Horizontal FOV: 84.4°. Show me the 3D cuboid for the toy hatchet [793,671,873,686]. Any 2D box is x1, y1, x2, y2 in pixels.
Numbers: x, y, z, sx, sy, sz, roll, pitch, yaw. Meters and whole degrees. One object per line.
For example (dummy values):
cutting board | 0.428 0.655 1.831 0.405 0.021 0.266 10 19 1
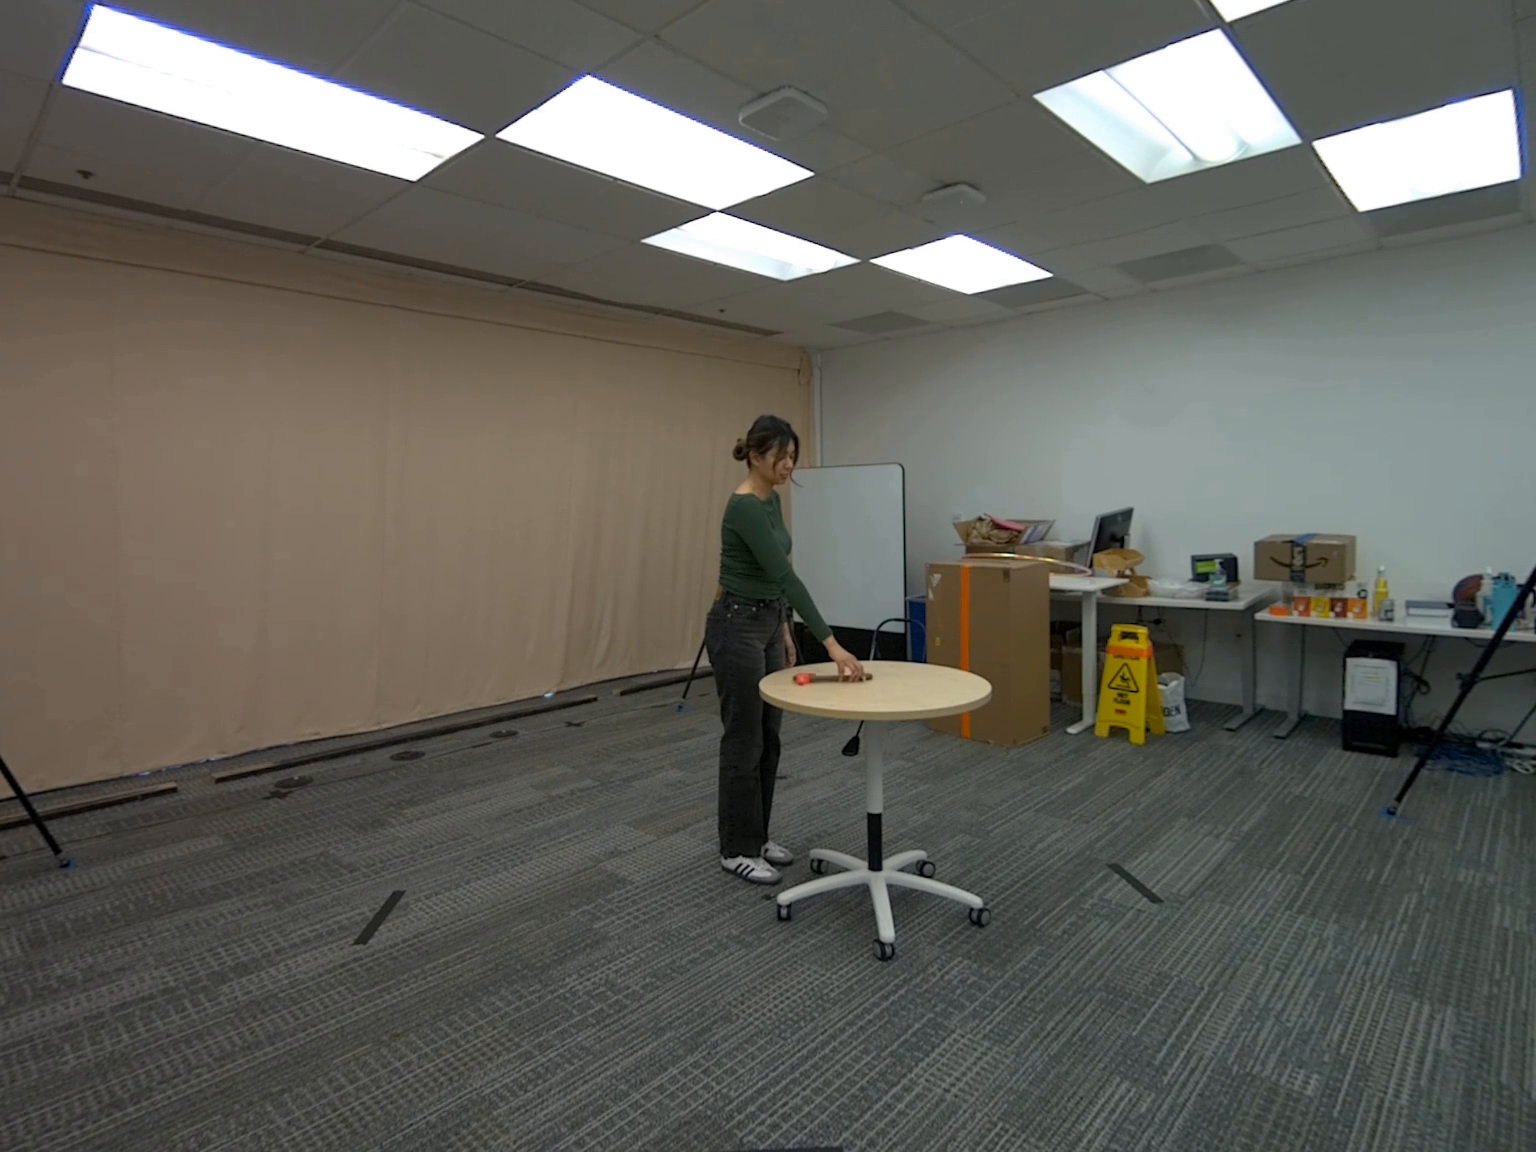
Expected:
toy hatchet | 0.220 0.350 2.908 0.266 0.029 0.133 -3 1 -16
